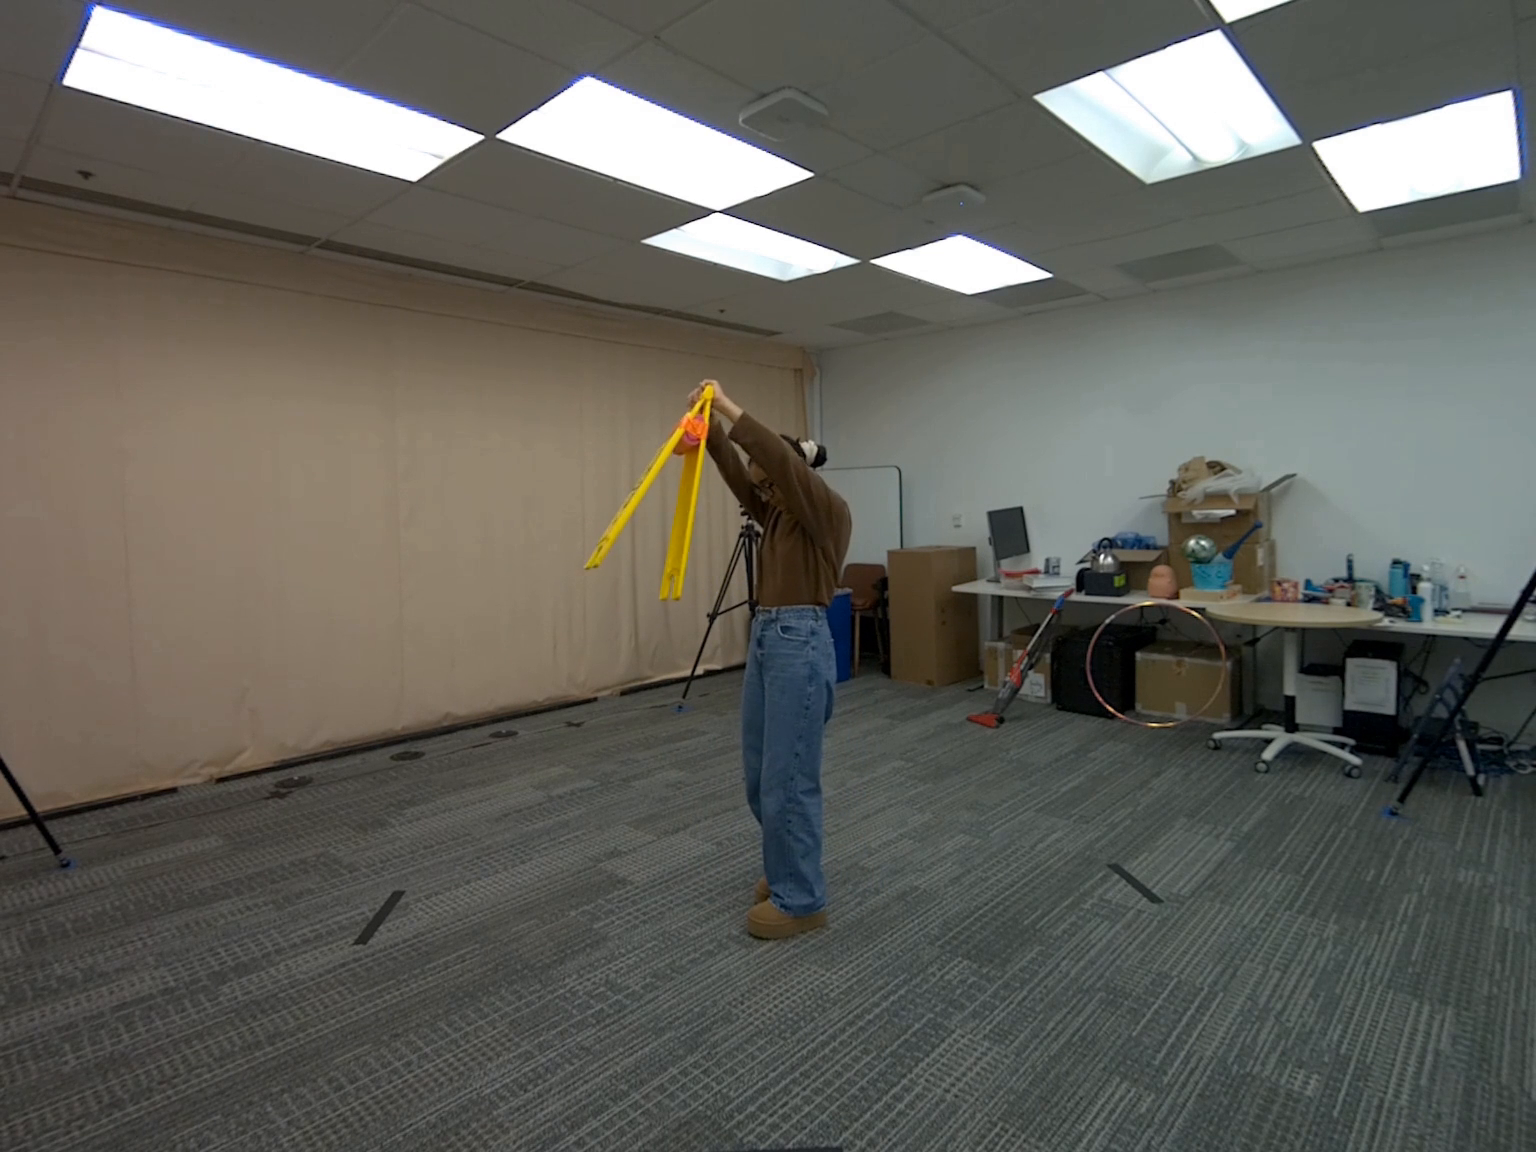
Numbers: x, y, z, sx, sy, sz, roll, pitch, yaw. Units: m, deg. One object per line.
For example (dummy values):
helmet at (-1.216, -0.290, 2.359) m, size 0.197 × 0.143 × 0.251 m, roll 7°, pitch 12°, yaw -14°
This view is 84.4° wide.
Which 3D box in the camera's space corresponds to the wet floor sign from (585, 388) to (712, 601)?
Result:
wet floor sign at (-0.307, -0.272, 2.599) m, size 0.285 × 0.647 × 0.286 m, roll 21°, pitch -9°, yaw -15°
